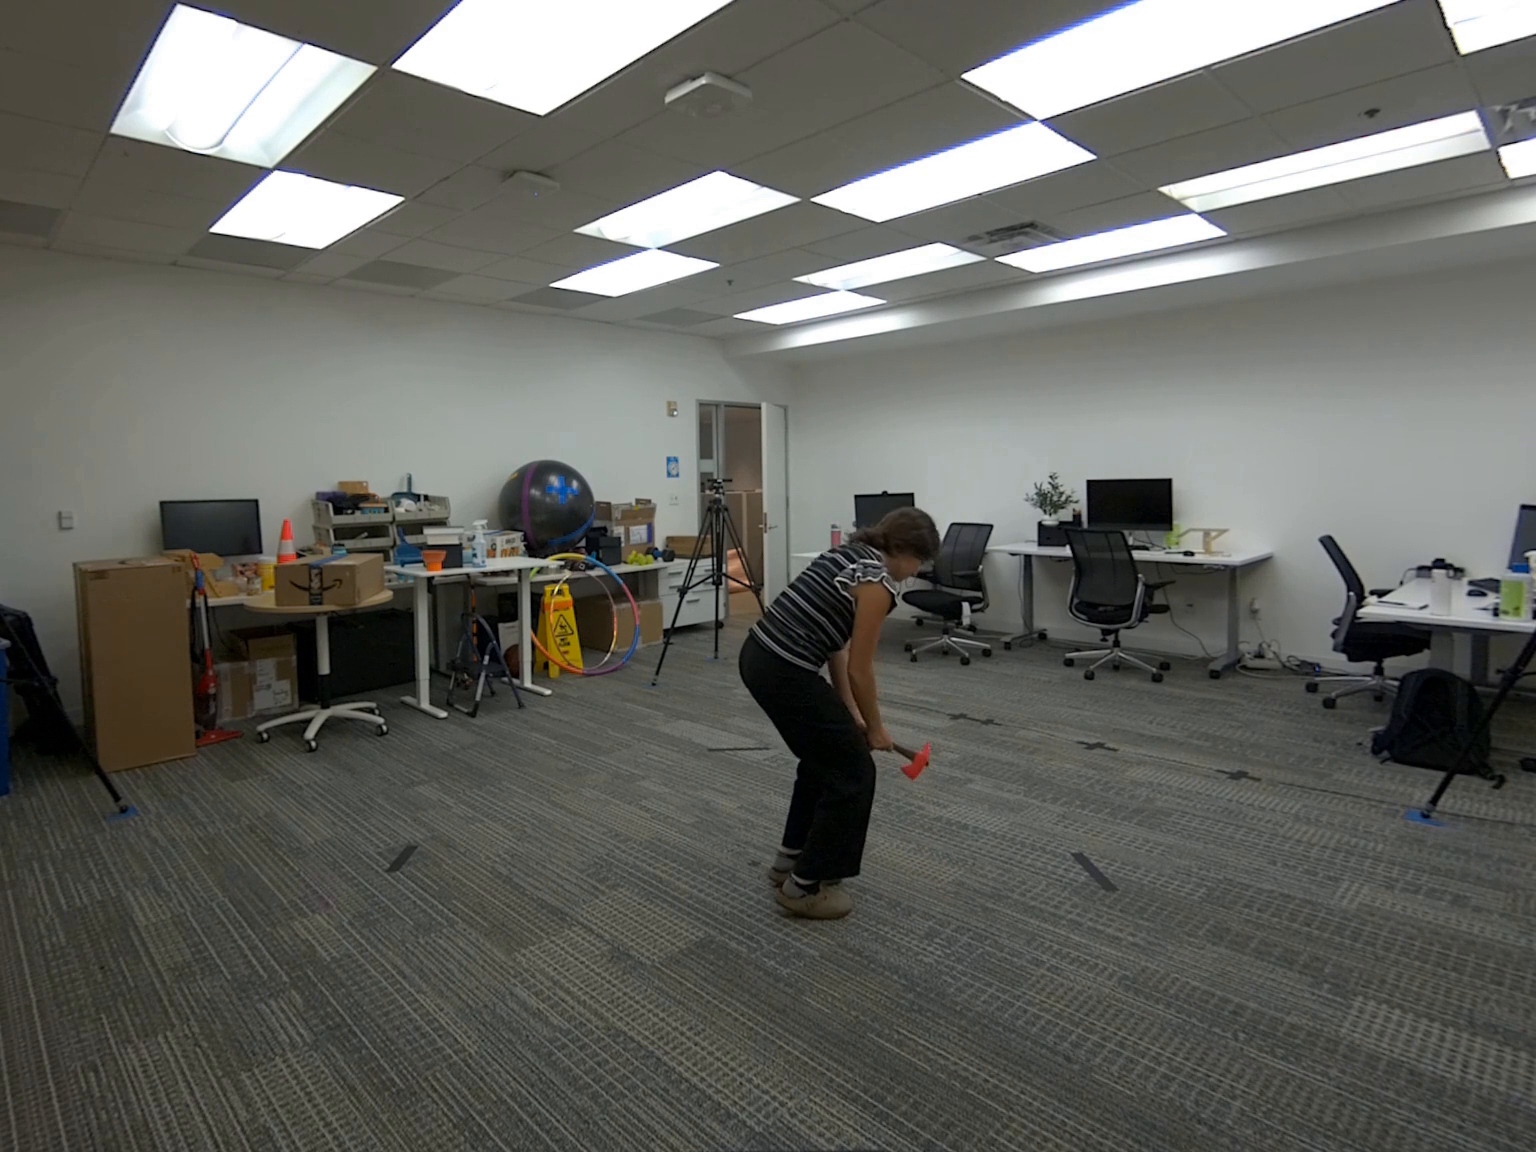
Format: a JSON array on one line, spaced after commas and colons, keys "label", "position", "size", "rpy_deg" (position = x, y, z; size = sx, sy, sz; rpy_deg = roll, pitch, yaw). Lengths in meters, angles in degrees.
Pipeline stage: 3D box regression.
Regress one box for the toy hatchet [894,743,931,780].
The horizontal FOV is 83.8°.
[{"label": "toy hatchet", "position": [0.395, 0.611, 2.855], "size": [0.273, 0.132, 0.029], "rpy_deg": [4, -10, 12]}]
